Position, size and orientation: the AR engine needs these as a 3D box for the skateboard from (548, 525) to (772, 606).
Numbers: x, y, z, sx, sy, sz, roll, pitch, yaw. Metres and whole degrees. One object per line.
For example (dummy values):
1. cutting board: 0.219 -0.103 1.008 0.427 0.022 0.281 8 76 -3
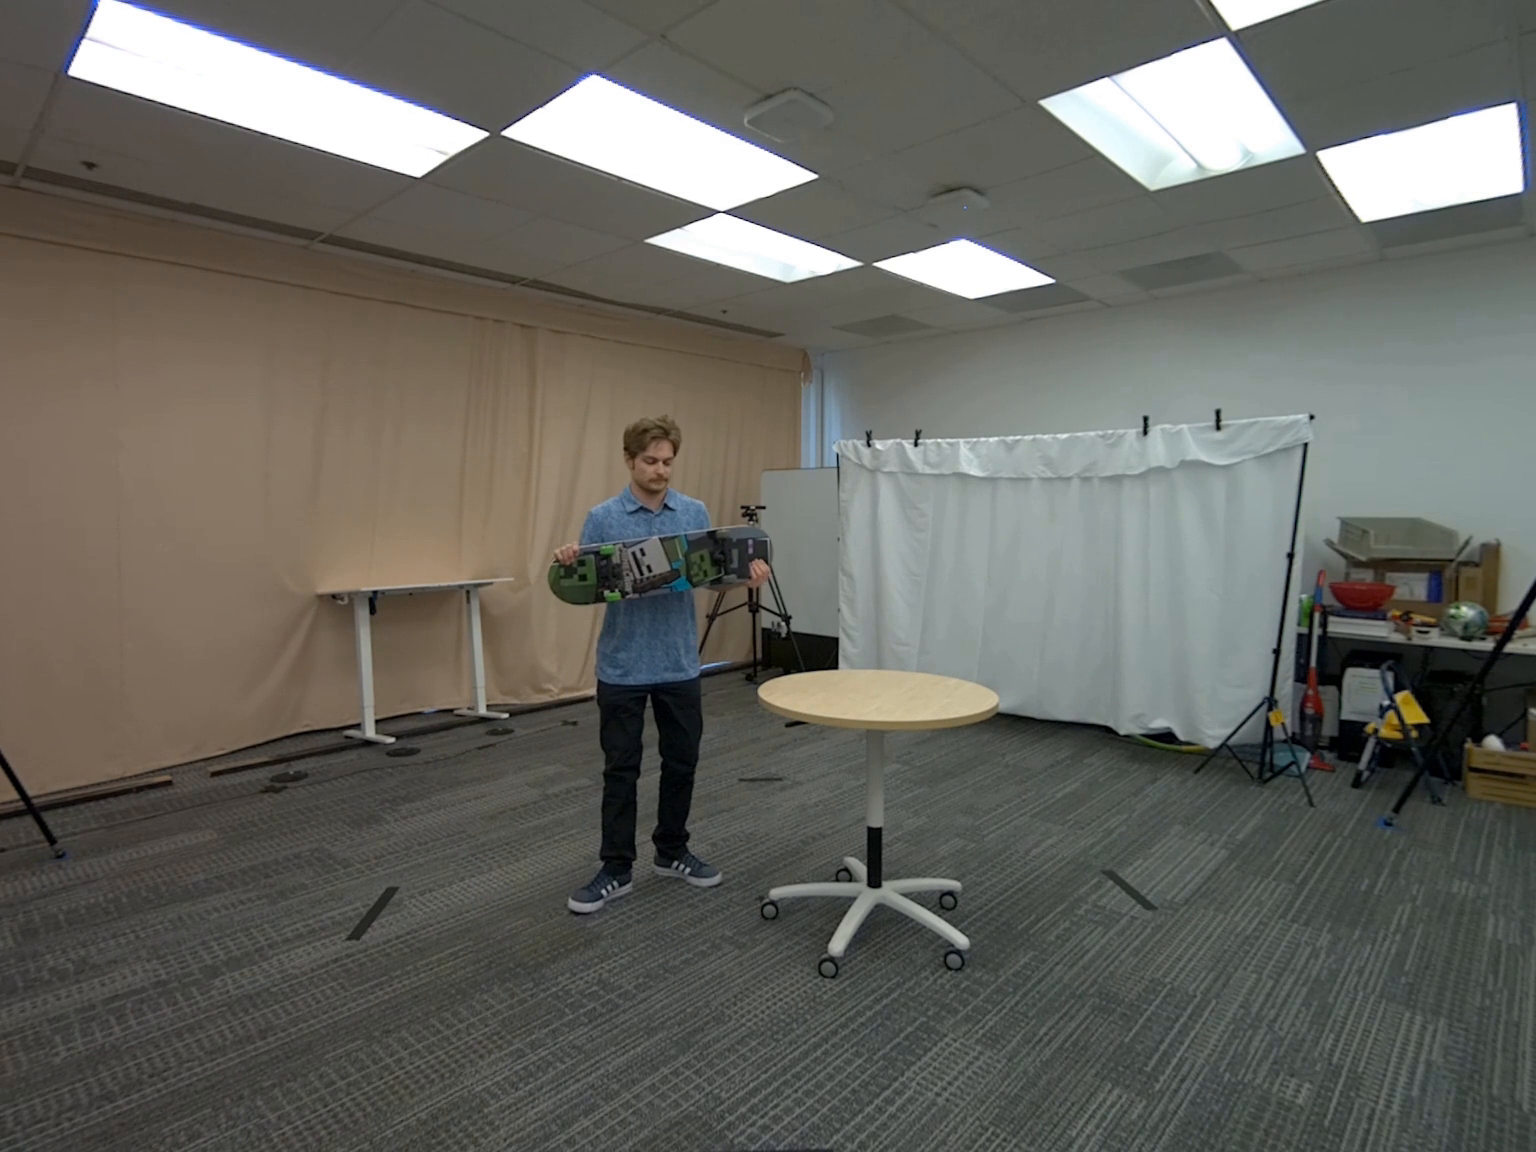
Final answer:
1. skateboard: -0.337 -0.037 2.817 0.773 0.193 0.112 -9 5 -16
